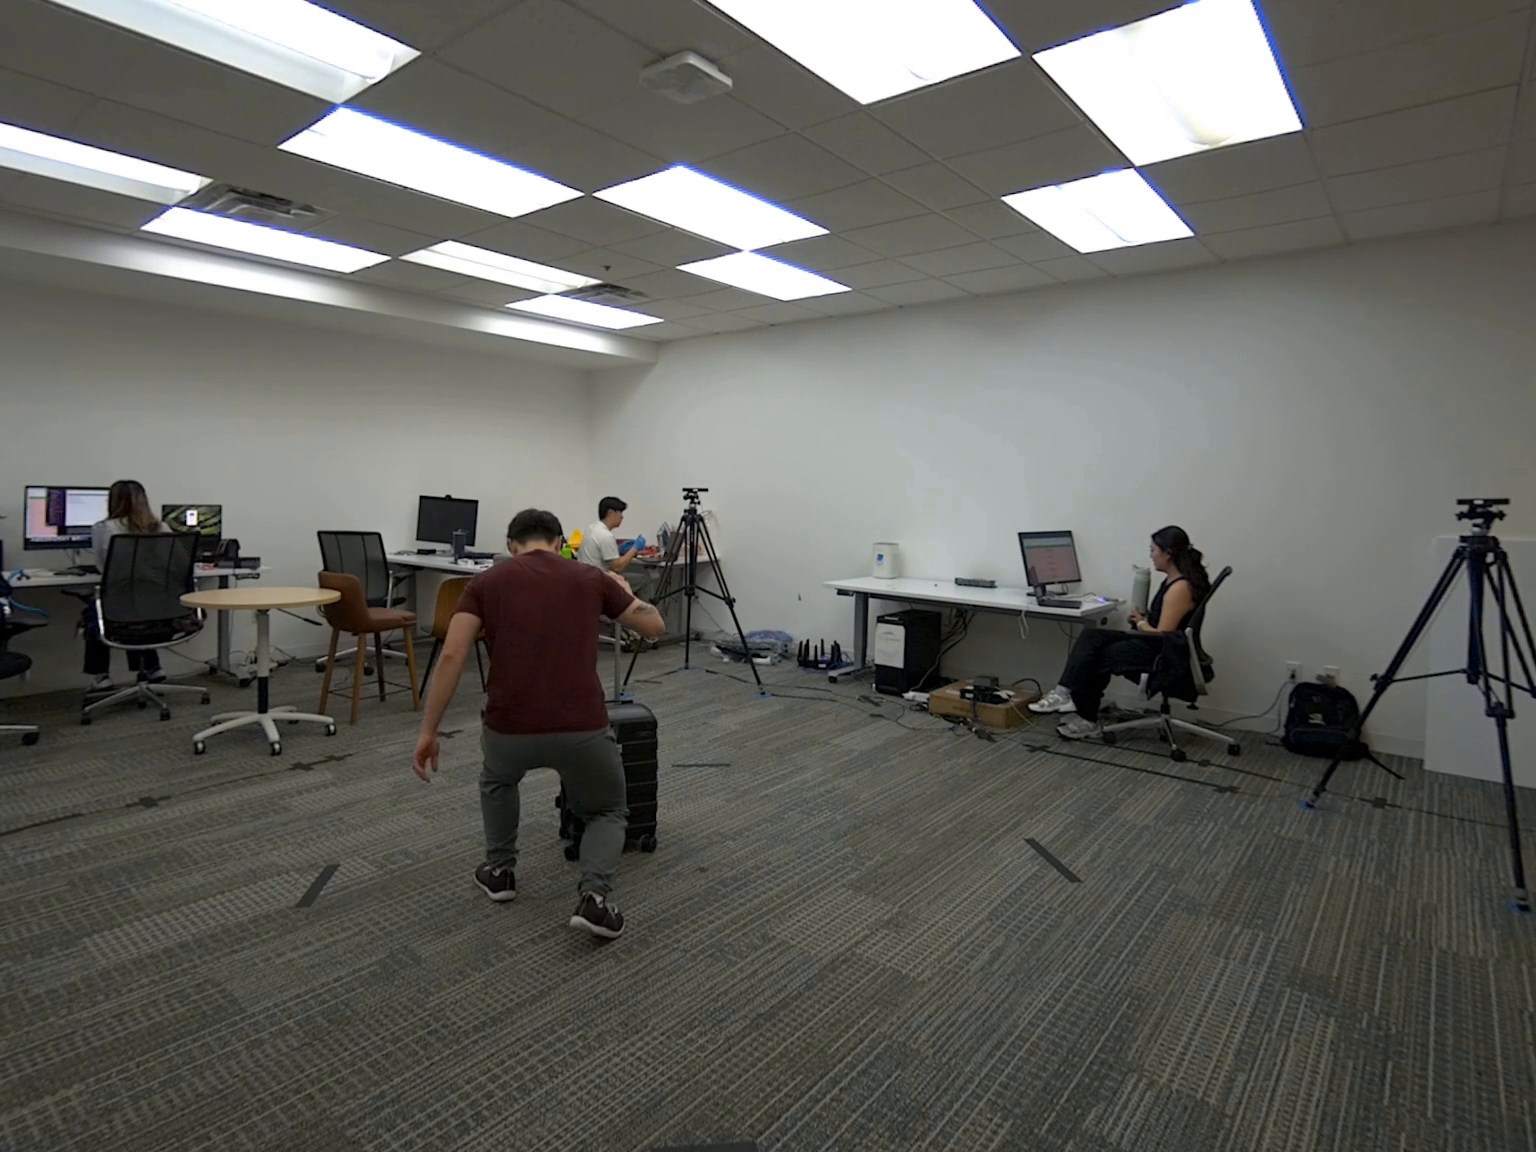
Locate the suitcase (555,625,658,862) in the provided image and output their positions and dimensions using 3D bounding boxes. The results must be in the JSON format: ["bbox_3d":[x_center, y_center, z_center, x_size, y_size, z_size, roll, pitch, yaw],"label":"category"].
[{"bbox_3d":[-0.624,0.572,3.301,0.377,0.975,0.263,-1,4,-19],"label":"suitcase"}]
